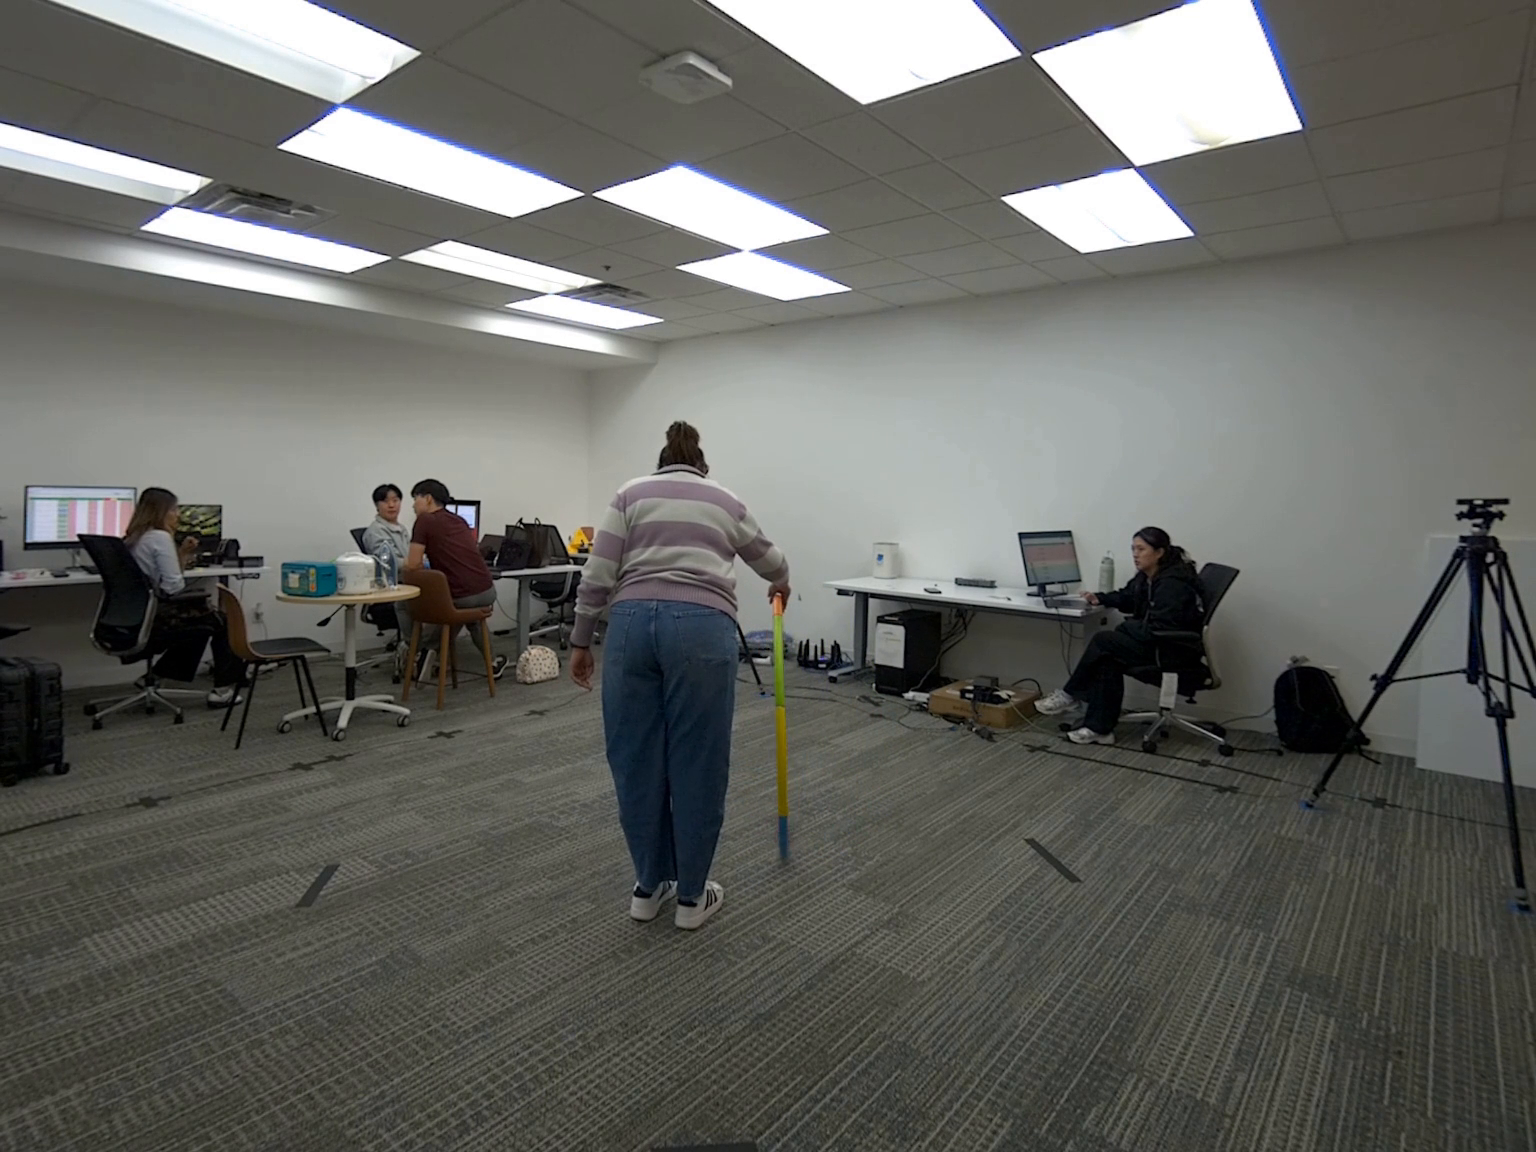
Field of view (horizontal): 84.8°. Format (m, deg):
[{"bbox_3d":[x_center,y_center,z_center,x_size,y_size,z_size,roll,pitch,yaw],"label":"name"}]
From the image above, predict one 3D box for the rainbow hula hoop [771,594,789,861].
[{"bbox_3d":[0.041,0.567,3.307,0.035,0.976,0.978,-2,4,1],"label":"rainbow hula hoop"}]
